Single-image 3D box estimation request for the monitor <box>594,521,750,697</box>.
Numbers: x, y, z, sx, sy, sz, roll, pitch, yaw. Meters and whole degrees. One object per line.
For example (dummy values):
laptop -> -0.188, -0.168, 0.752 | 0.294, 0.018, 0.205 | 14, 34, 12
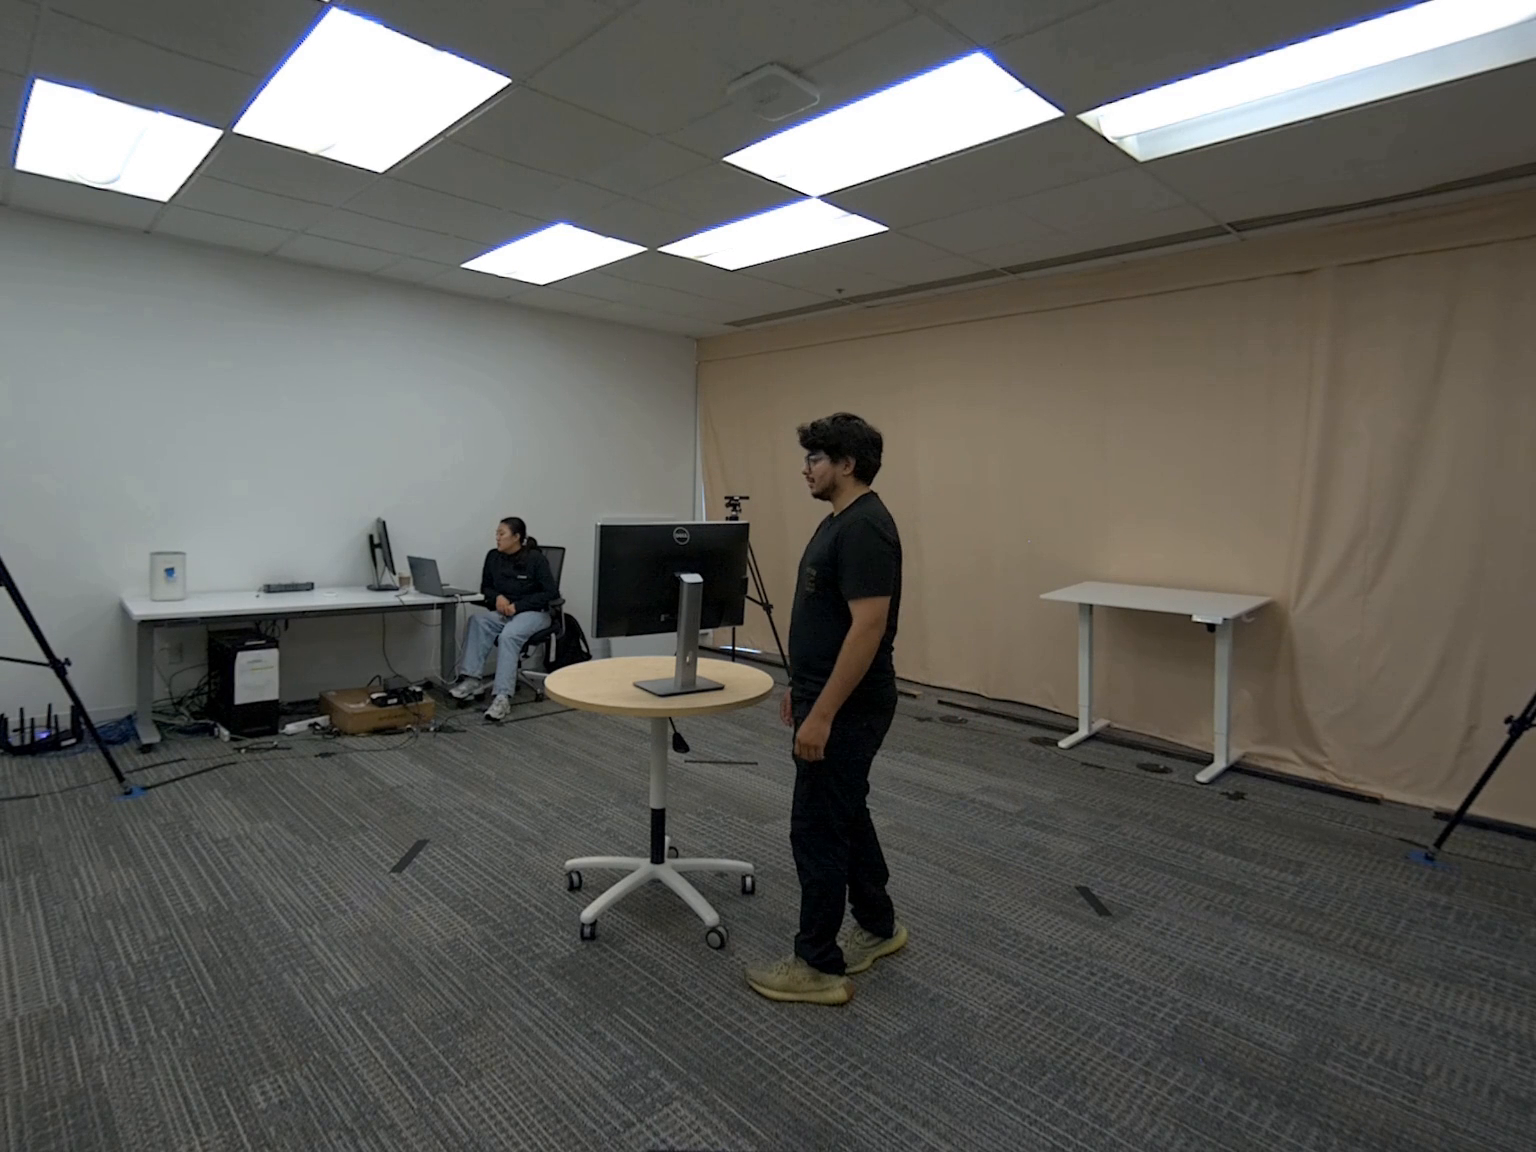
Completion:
monitor -> -0.274, 0.103, 2.688 | 0.553, 0.552, 0.215 | -2, 7, -34
